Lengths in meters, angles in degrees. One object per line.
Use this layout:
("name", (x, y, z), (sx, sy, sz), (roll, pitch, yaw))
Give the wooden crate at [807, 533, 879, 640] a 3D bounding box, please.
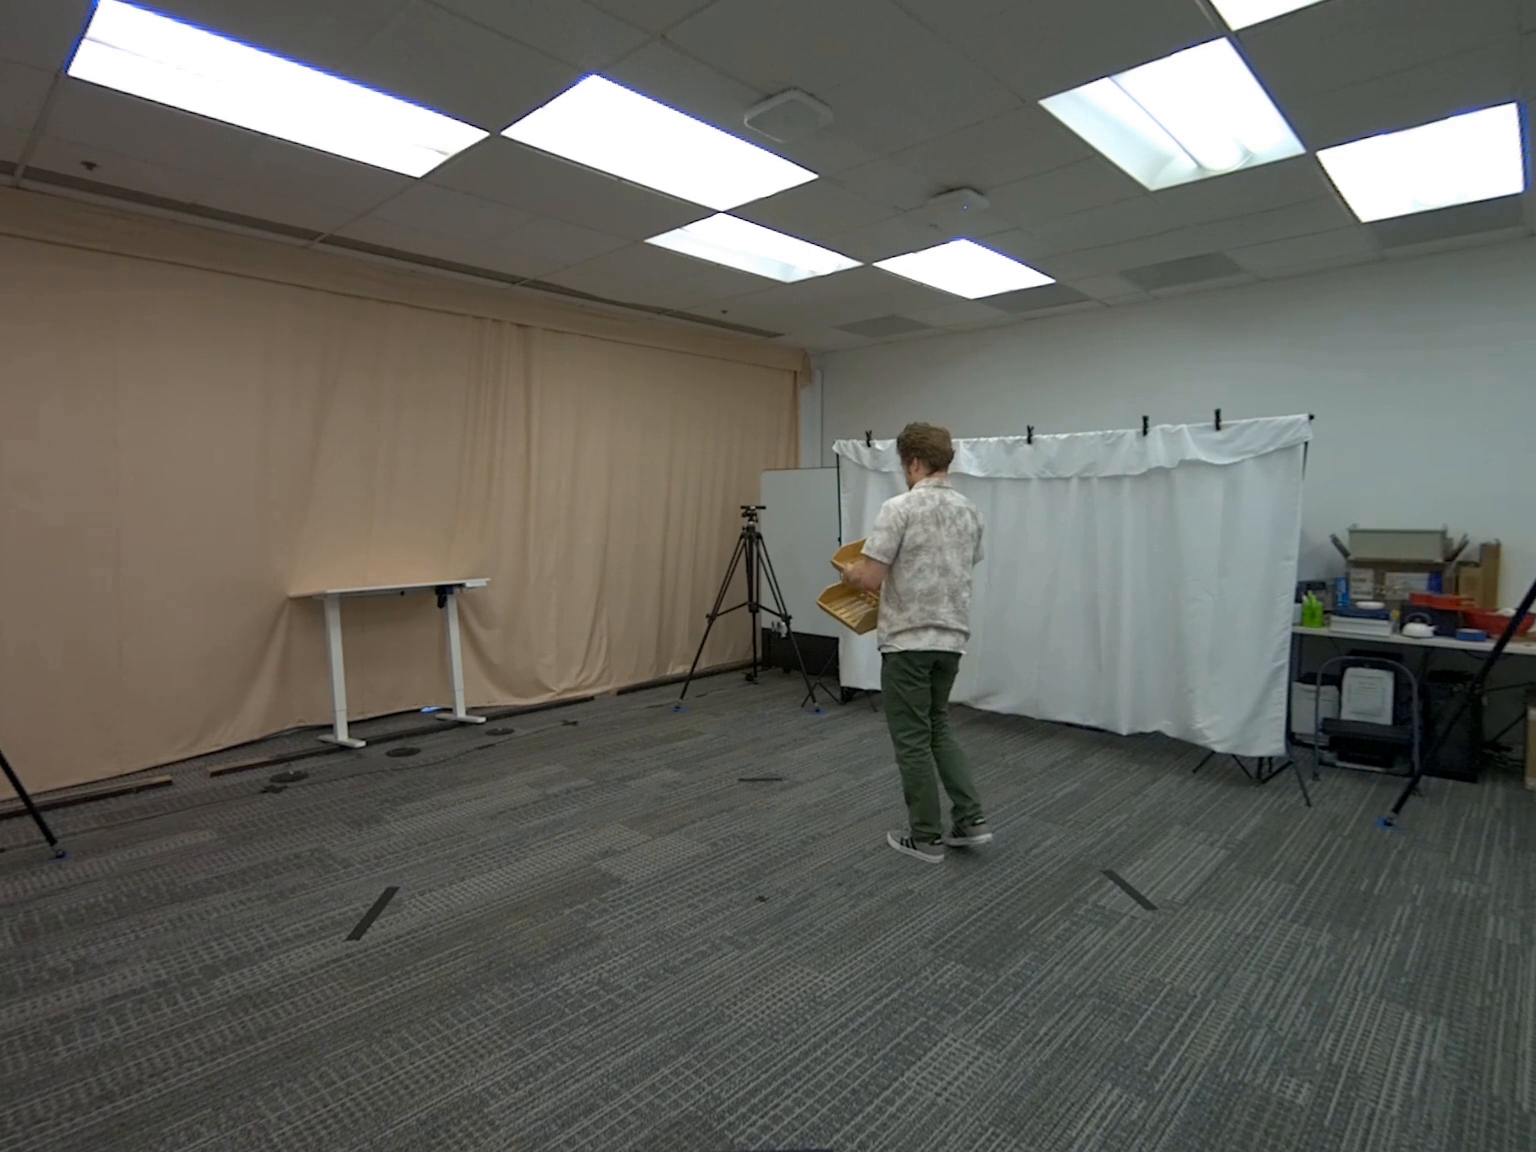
("wooden crate", (0.394, 0.034, 3.591), (0.297, 0.268, 0.335), (-19, 27, -22))
